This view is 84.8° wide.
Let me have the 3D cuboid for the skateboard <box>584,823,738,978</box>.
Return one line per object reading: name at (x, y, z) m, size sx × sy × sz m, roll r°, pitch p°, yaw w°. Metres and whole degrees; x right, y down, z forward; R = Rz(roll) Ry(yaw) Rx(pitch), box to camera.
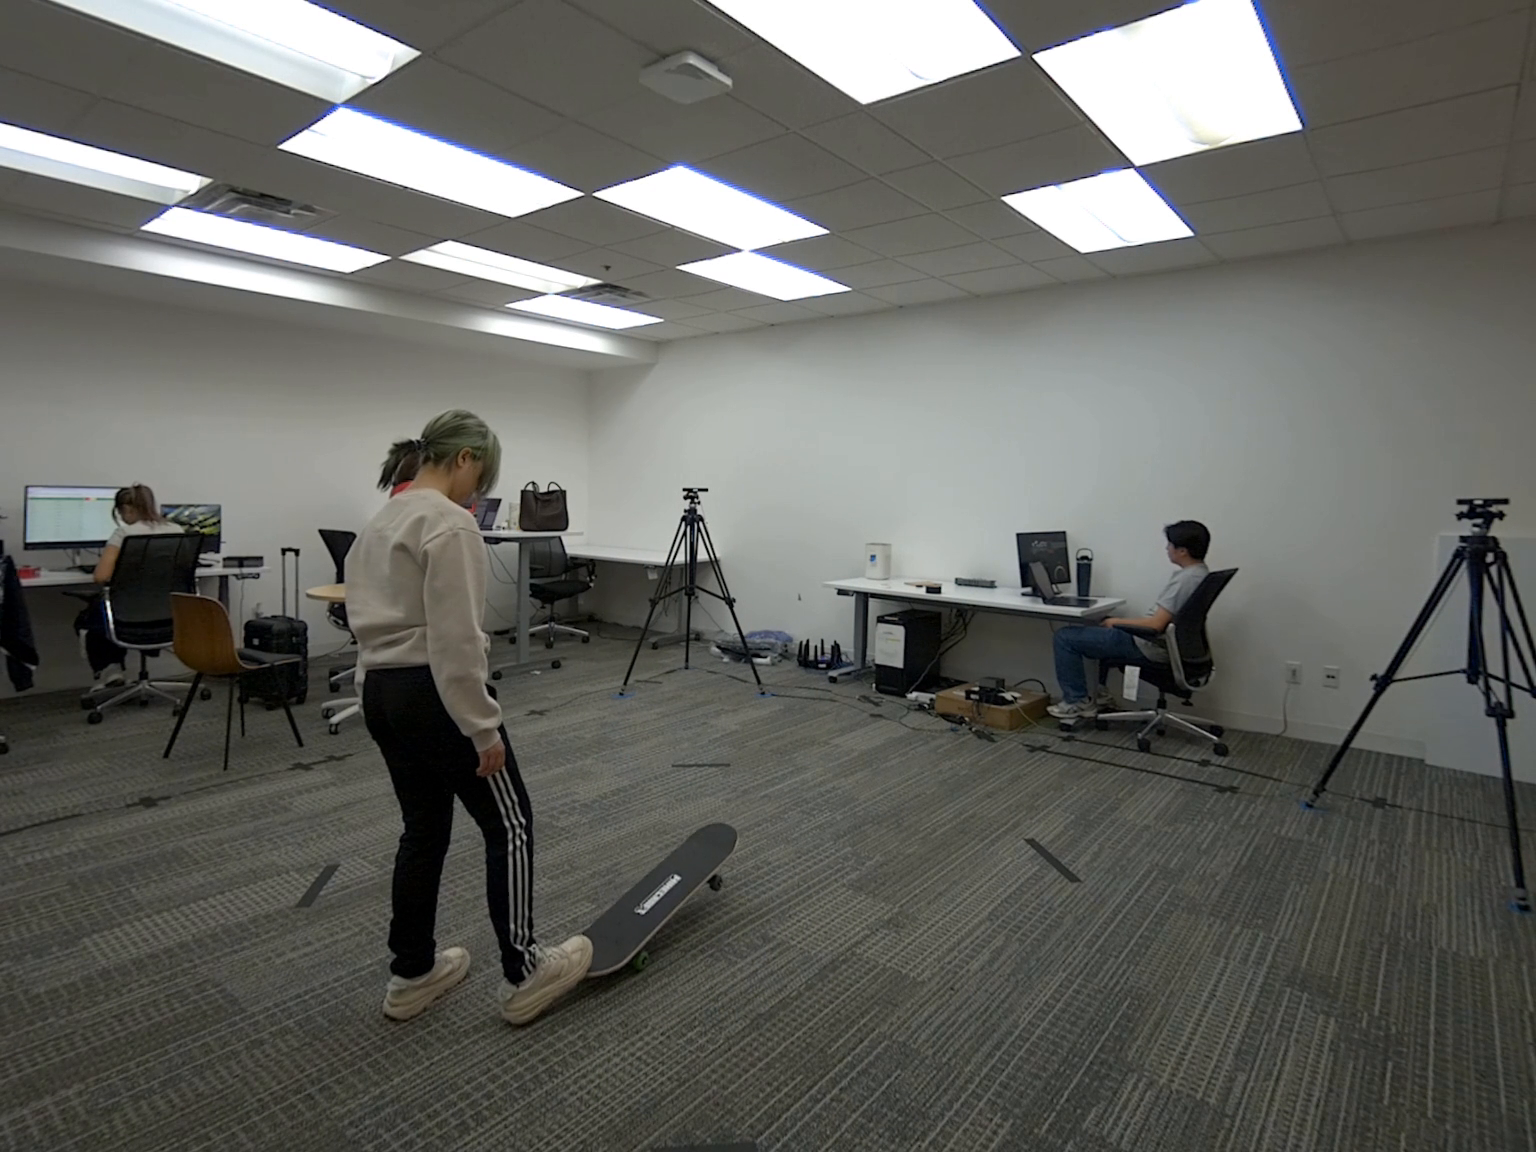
skateboard at (-0.344, 1.029, 2.641) m, size 0.199 × 0.109 × 0.773 m, roll 3°, pitch 18°, yaw 32°
